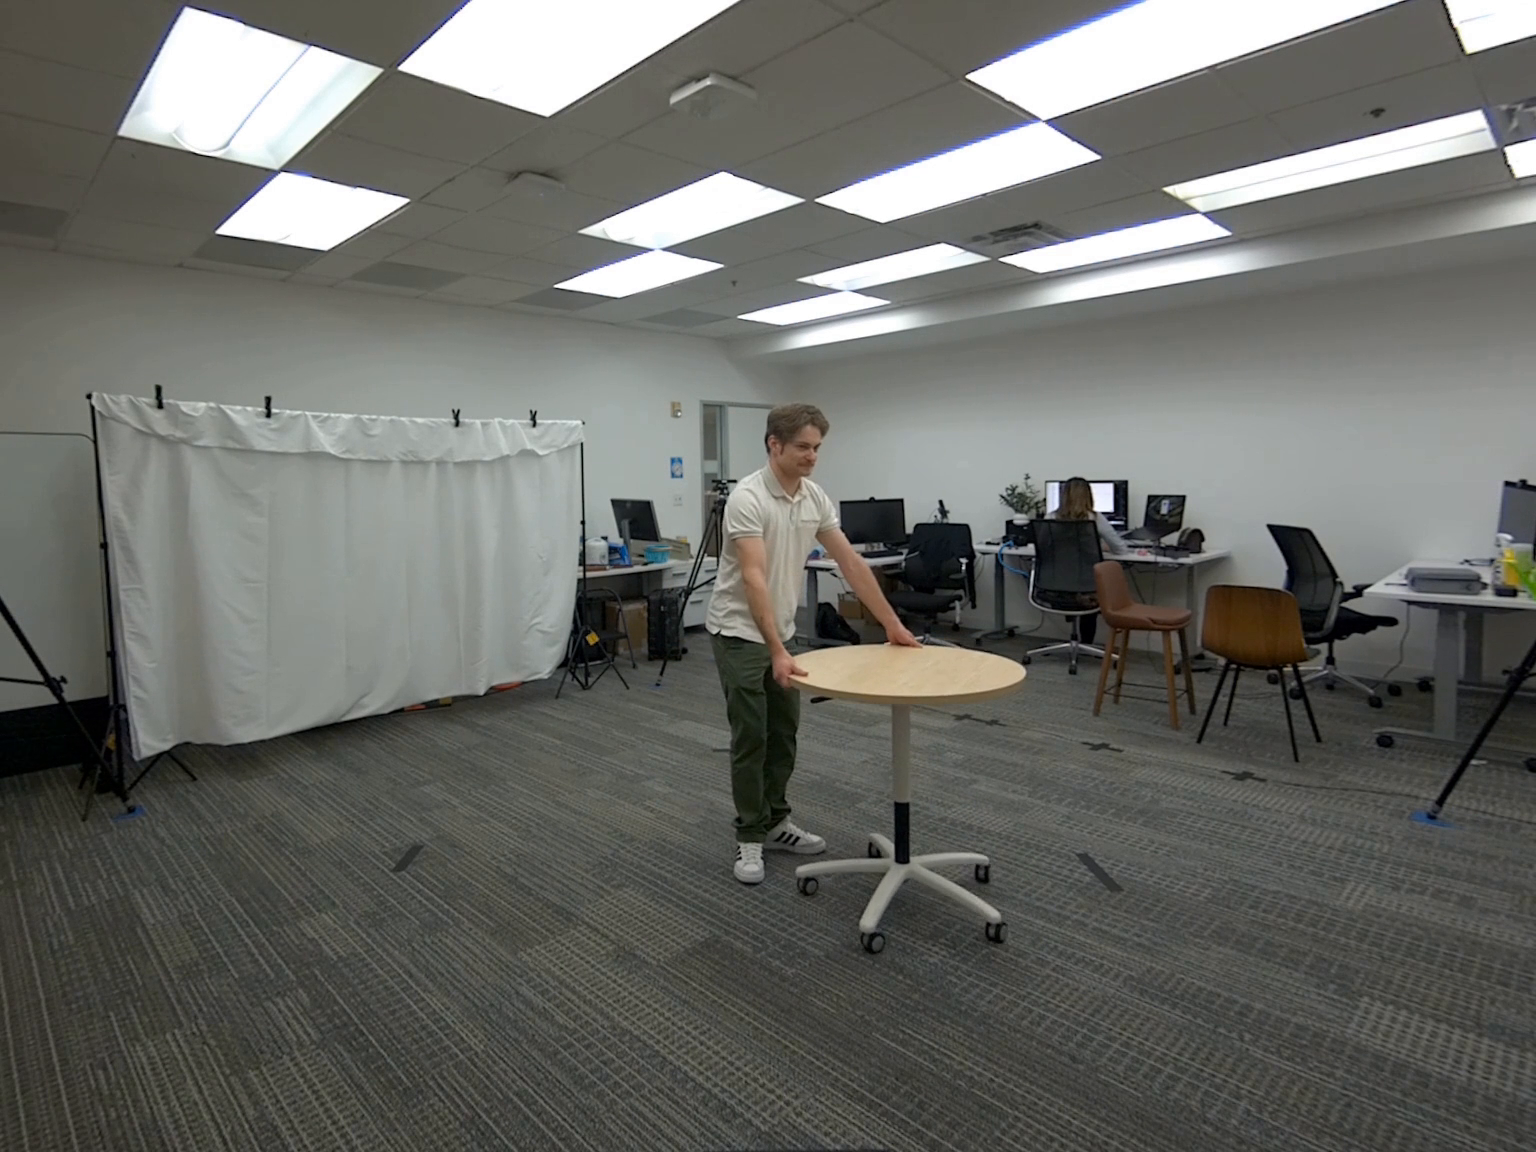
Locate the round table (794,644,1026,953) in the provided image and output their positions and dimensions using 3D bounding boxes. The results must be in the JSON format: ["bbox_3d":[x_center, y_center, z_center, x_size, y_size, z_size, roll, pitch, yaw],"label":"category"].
[{"bbox_3d":[0.434,0.686,2.779,0.763,0.791,0.768,-1,5,-2],"label":"round table"}]
